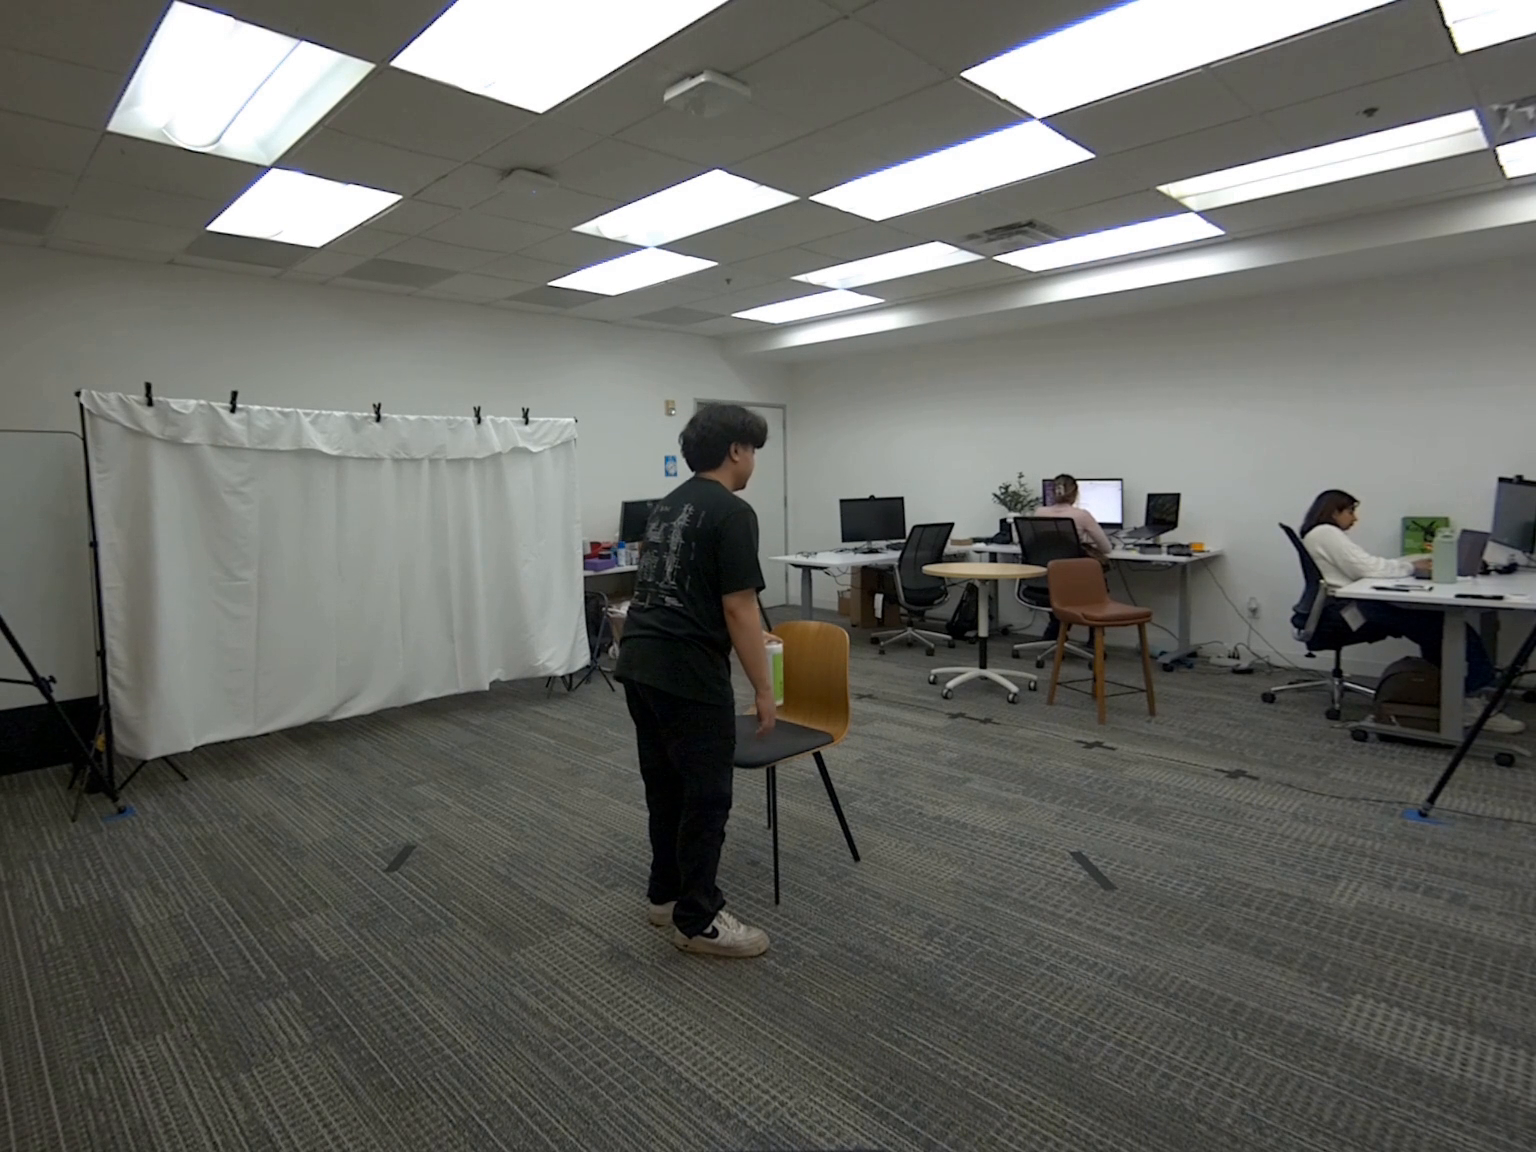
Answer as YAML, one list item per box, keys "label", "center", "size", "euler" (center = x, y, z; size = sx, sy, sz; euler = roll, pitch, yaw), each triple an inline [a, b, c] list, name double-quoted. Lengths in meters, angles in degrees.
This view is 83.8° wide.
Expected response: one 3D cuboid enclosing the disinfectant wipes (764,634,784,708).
- label: "disinfectant wipes"
  center: [0.003, 0.348, 3.030]
  size: [0.118, 0.217, 0.118]
  euler: [-1, 3, -2]
